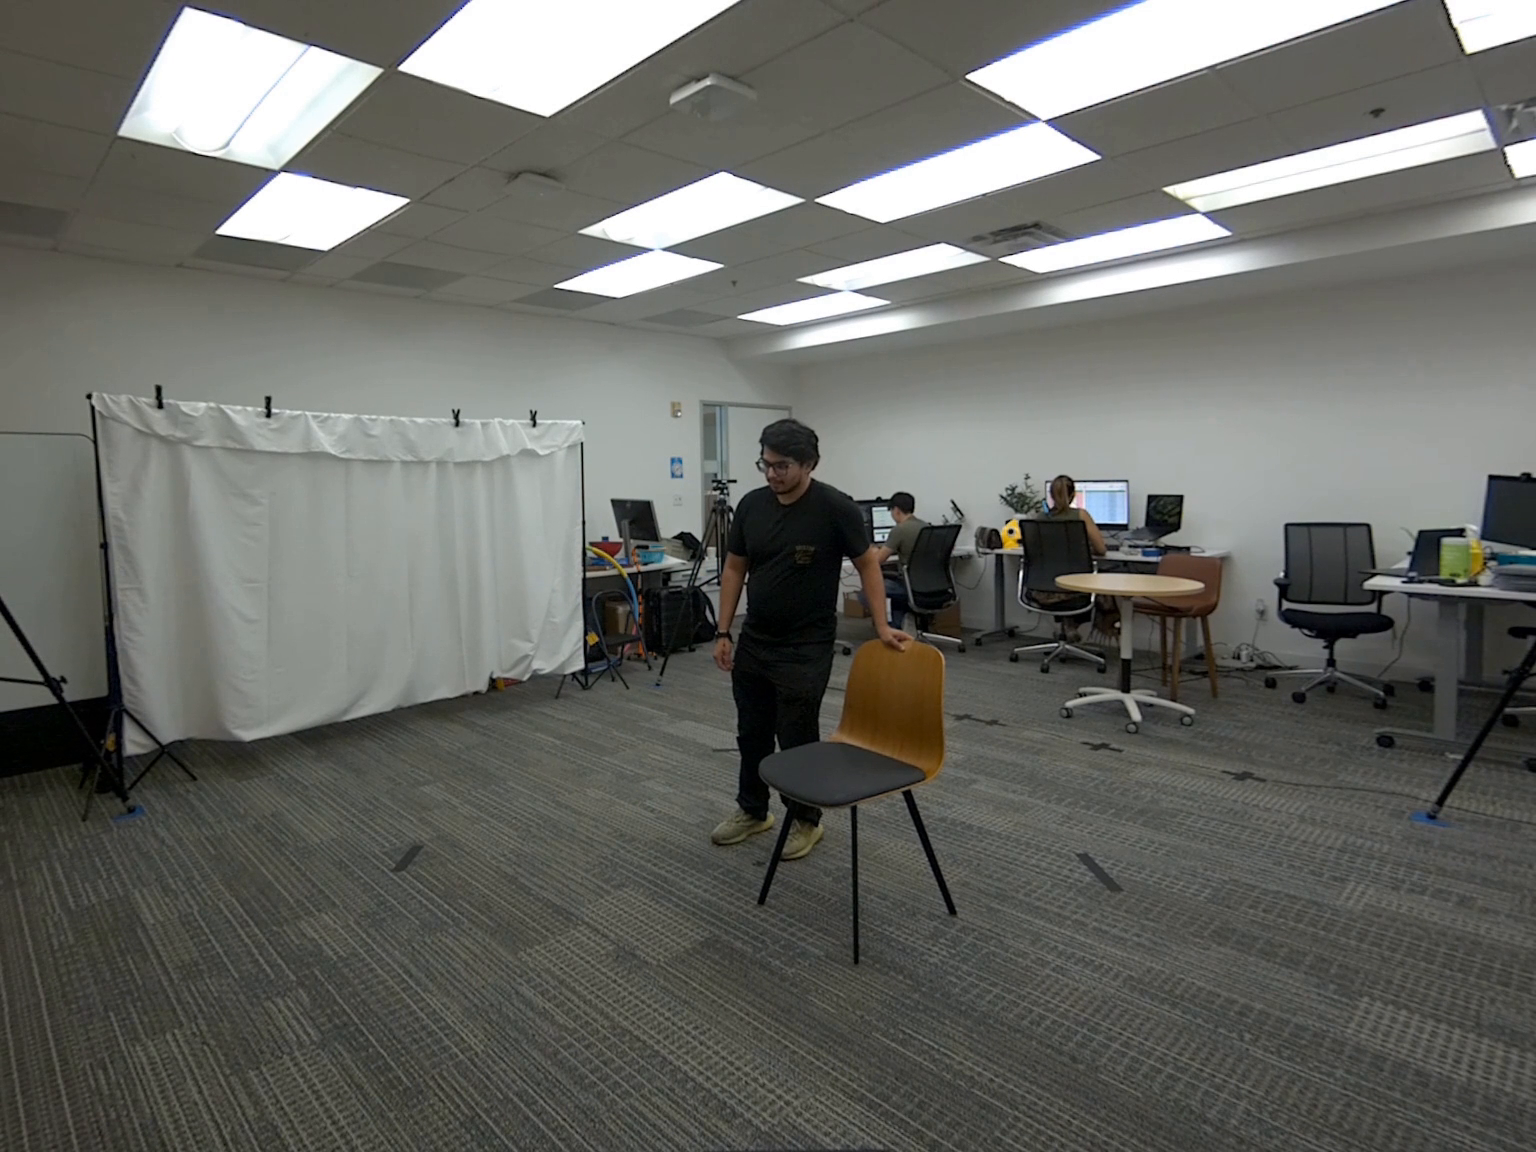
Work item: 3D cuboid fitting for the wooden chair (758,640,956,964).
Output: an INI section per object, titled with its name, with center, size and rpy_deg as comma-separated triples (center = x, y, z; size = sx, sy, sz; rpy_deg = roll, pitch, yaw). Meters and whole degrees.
[wooden chair]
center = 0.272, 0.658, 2.727
size = 0.508, 0.877, 0.492
rpy_deg = 1, 1, -39
